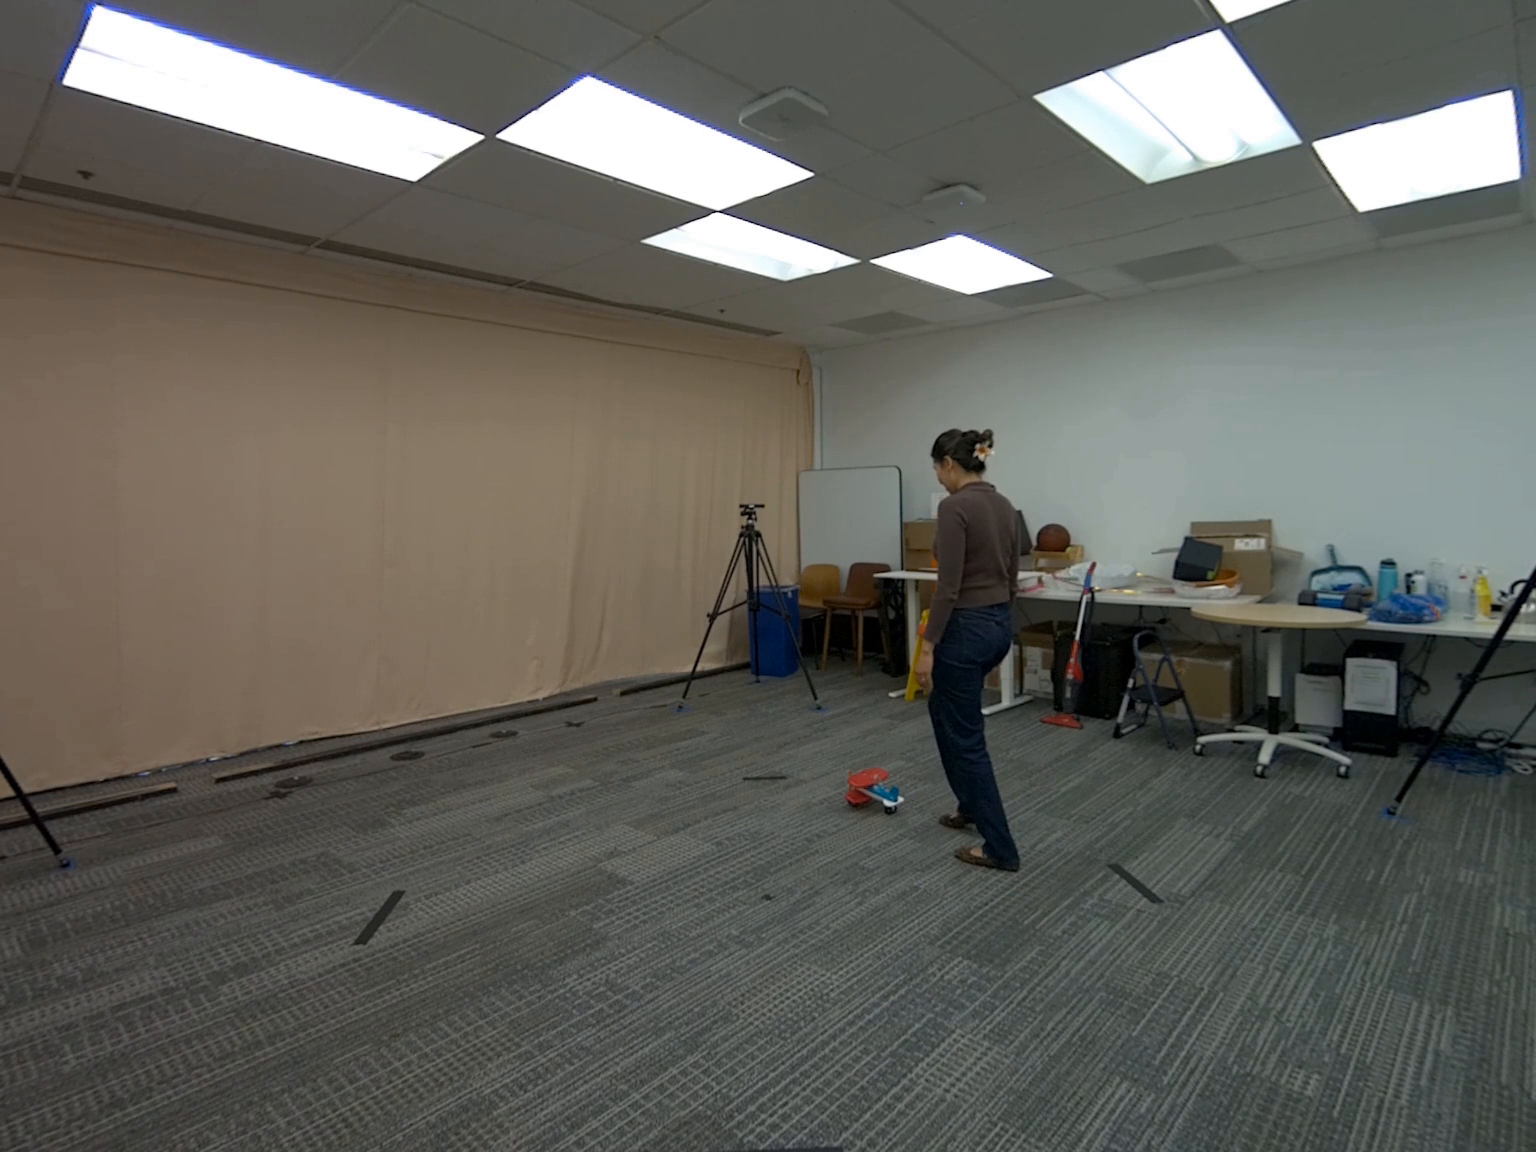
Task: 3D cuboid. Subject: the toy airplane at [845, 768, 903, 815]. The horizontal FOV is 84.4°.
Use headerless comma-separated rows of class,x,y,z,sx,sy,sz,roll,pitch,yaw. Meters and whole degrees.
toy airplane,0.496,0.983,3.856,0.264,0.156,0.247,-1,3,18
